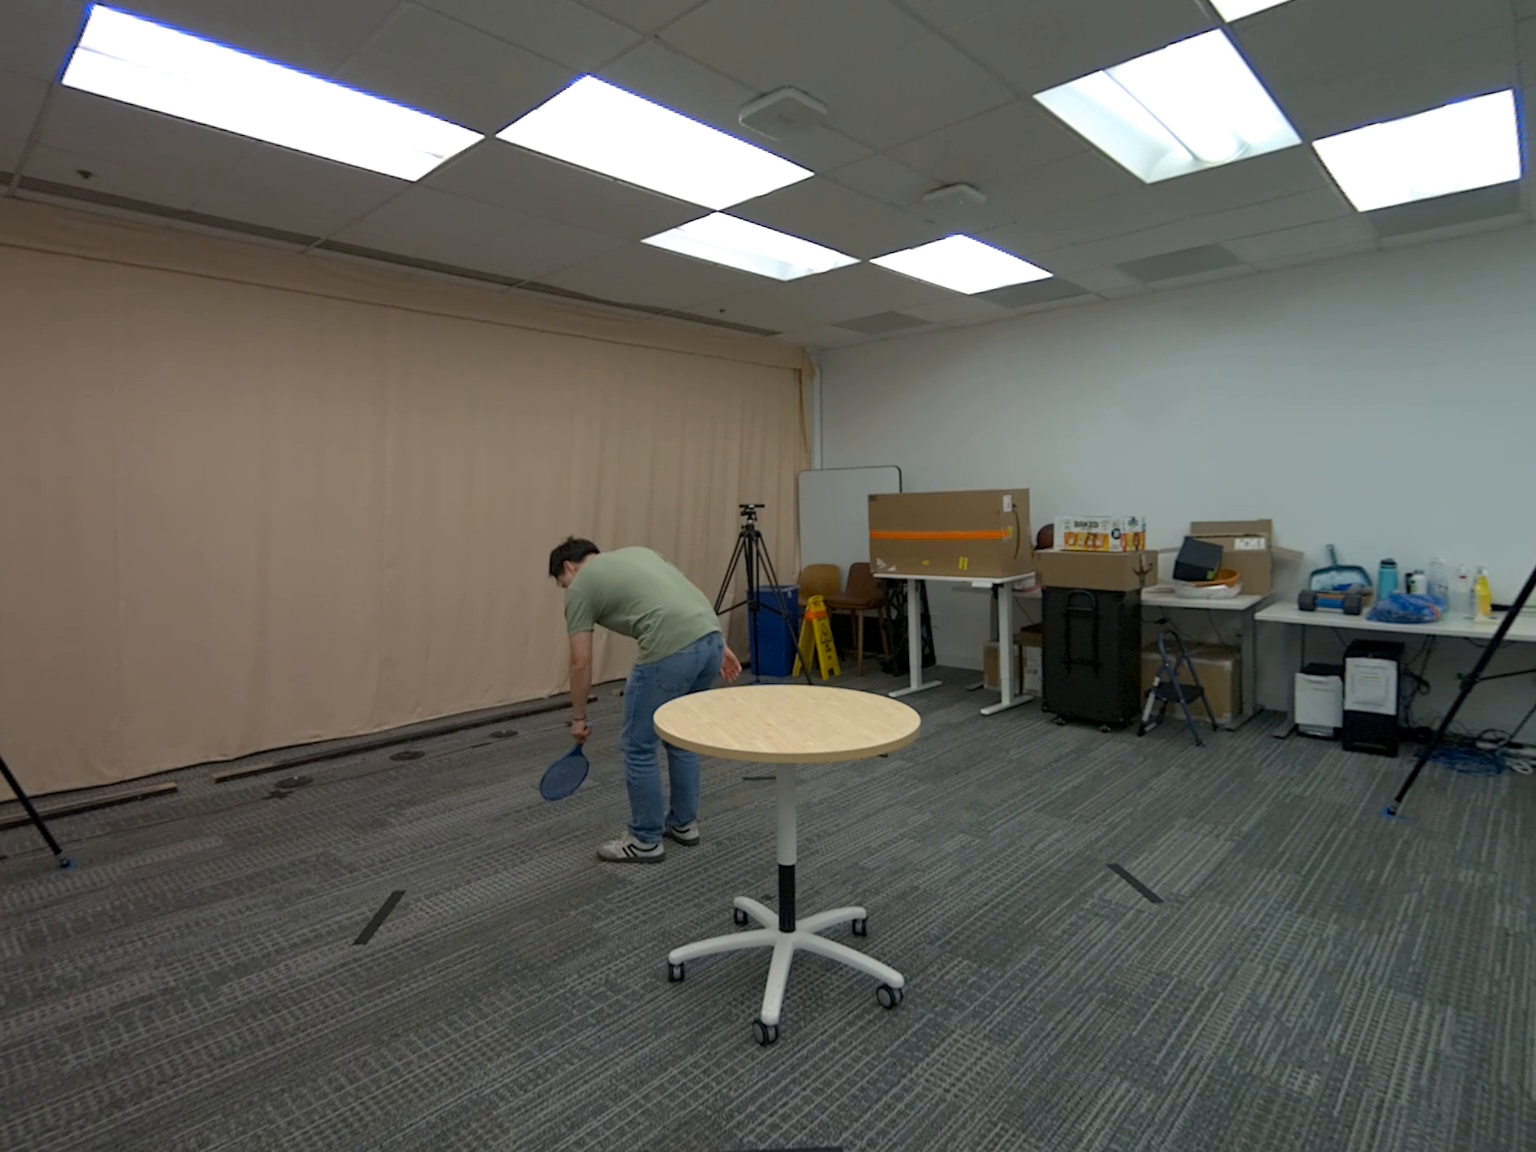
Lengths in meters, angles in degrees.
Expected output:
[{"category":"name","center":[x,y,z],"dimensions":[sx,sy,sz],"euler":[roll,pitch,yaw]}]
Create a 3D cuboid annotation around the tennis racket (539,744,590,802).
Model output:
[{"category":"tennis racket","center":[-0.827,0.783,3.538],"dimensions":[0.207,0.432,0.033],"euler":[7,31,-40]}]
